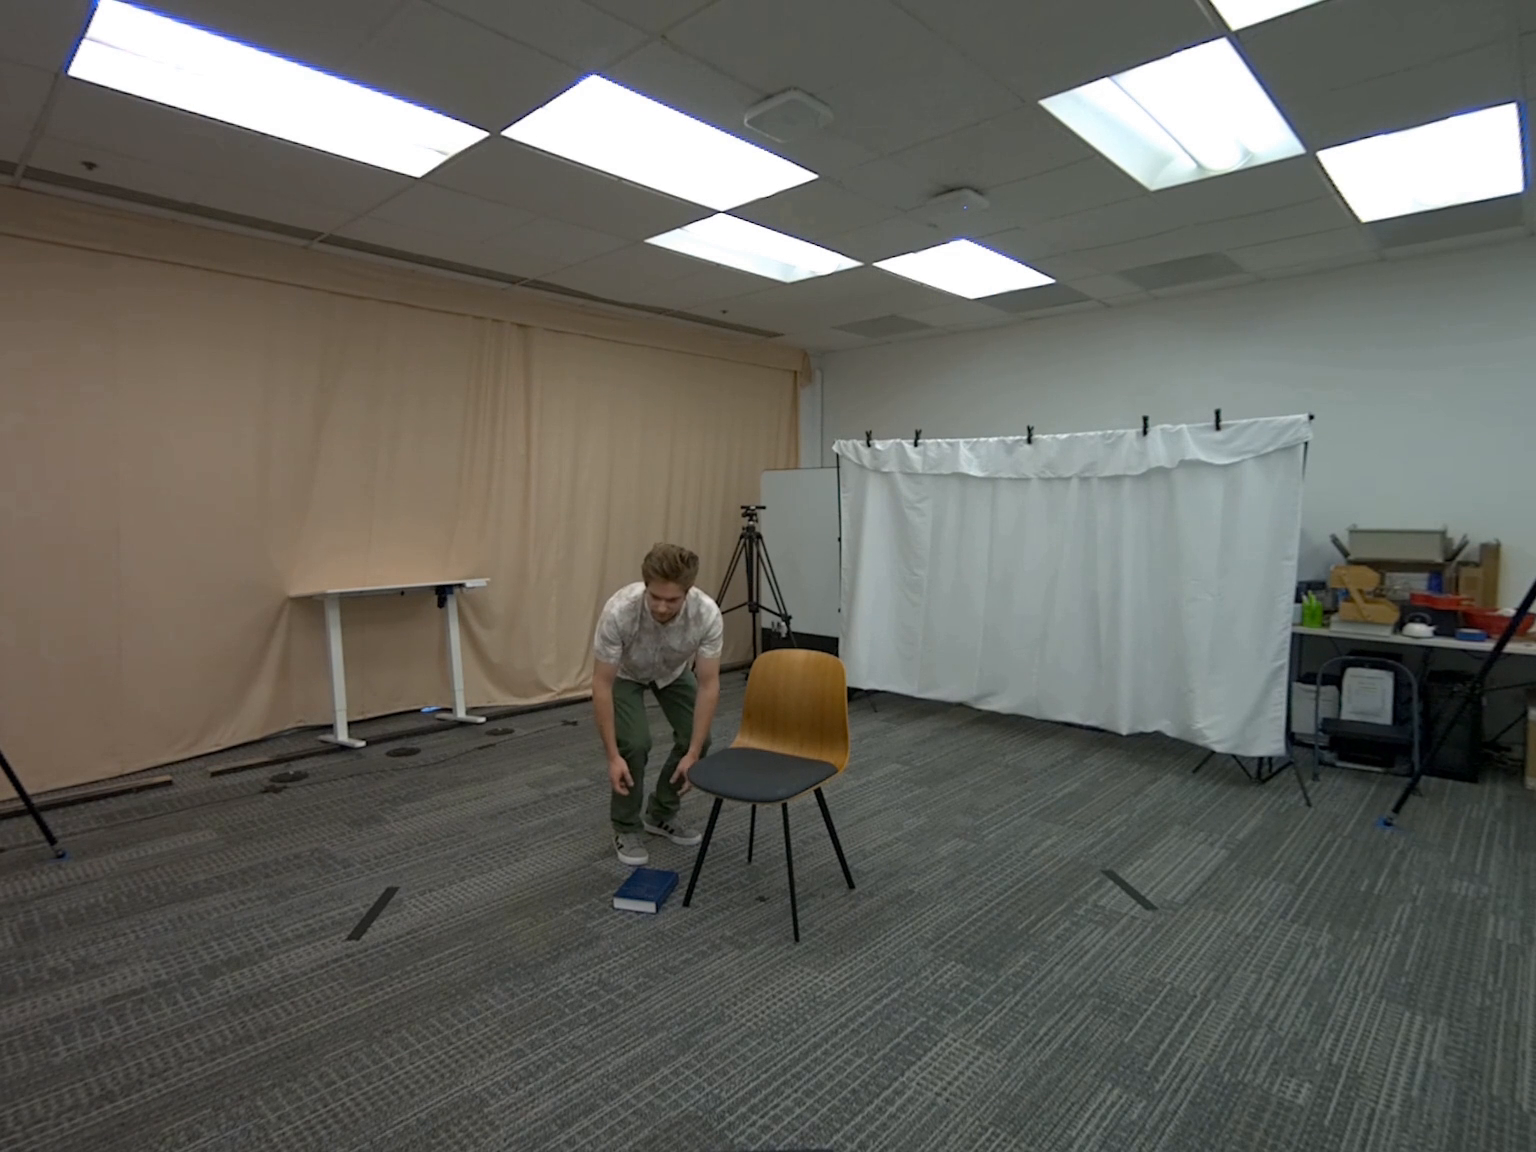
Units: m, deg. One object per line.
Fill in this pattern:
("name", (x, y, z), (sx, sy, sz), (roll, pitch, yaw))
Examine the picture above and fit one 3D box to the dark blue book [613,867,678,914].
("dark blue book", (-0.438, 1.118, 3.012), (0.166, 0.045, 0.242), (0, 5, 14))
